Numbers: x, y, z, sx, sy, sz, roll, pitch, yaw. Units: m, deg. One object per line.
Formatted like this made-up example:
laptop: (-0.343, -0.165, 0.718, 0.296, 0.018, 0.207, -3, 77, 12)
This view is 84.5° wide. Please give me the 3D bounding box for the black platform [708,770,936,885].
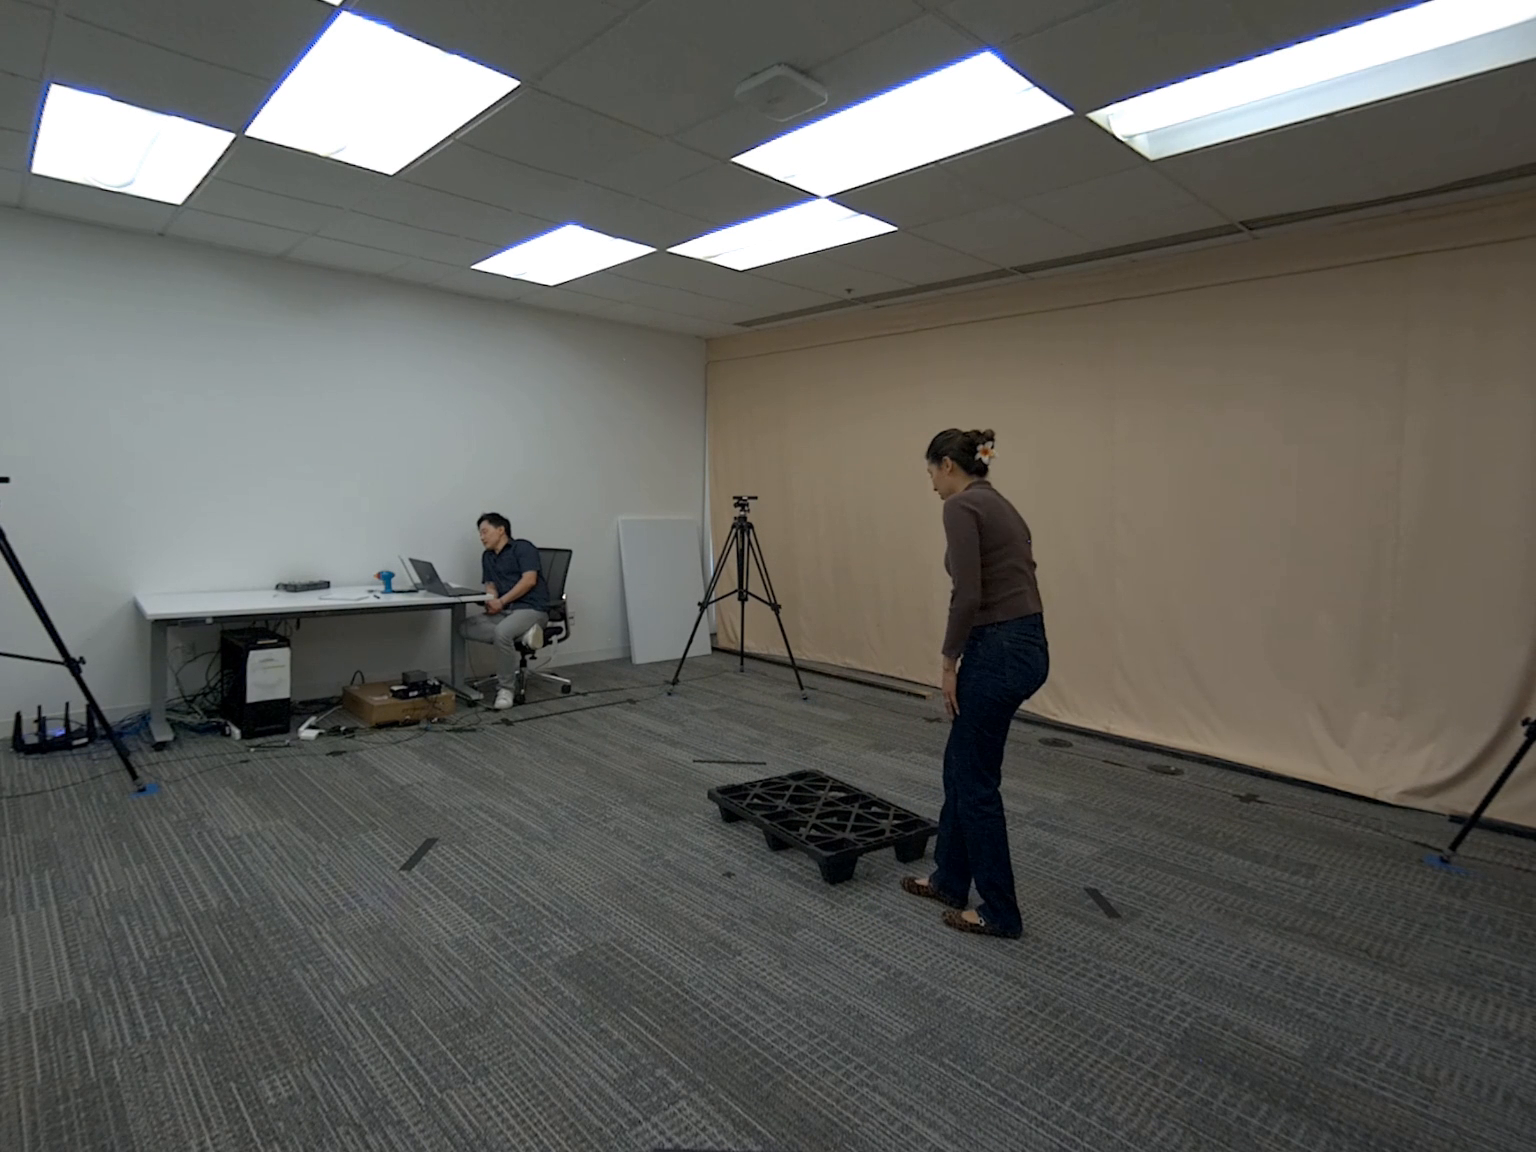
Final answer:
black platform: (0.198, 1.014, 3.460, 0.592, 0.143, 0.825, -2, 6, -35)
